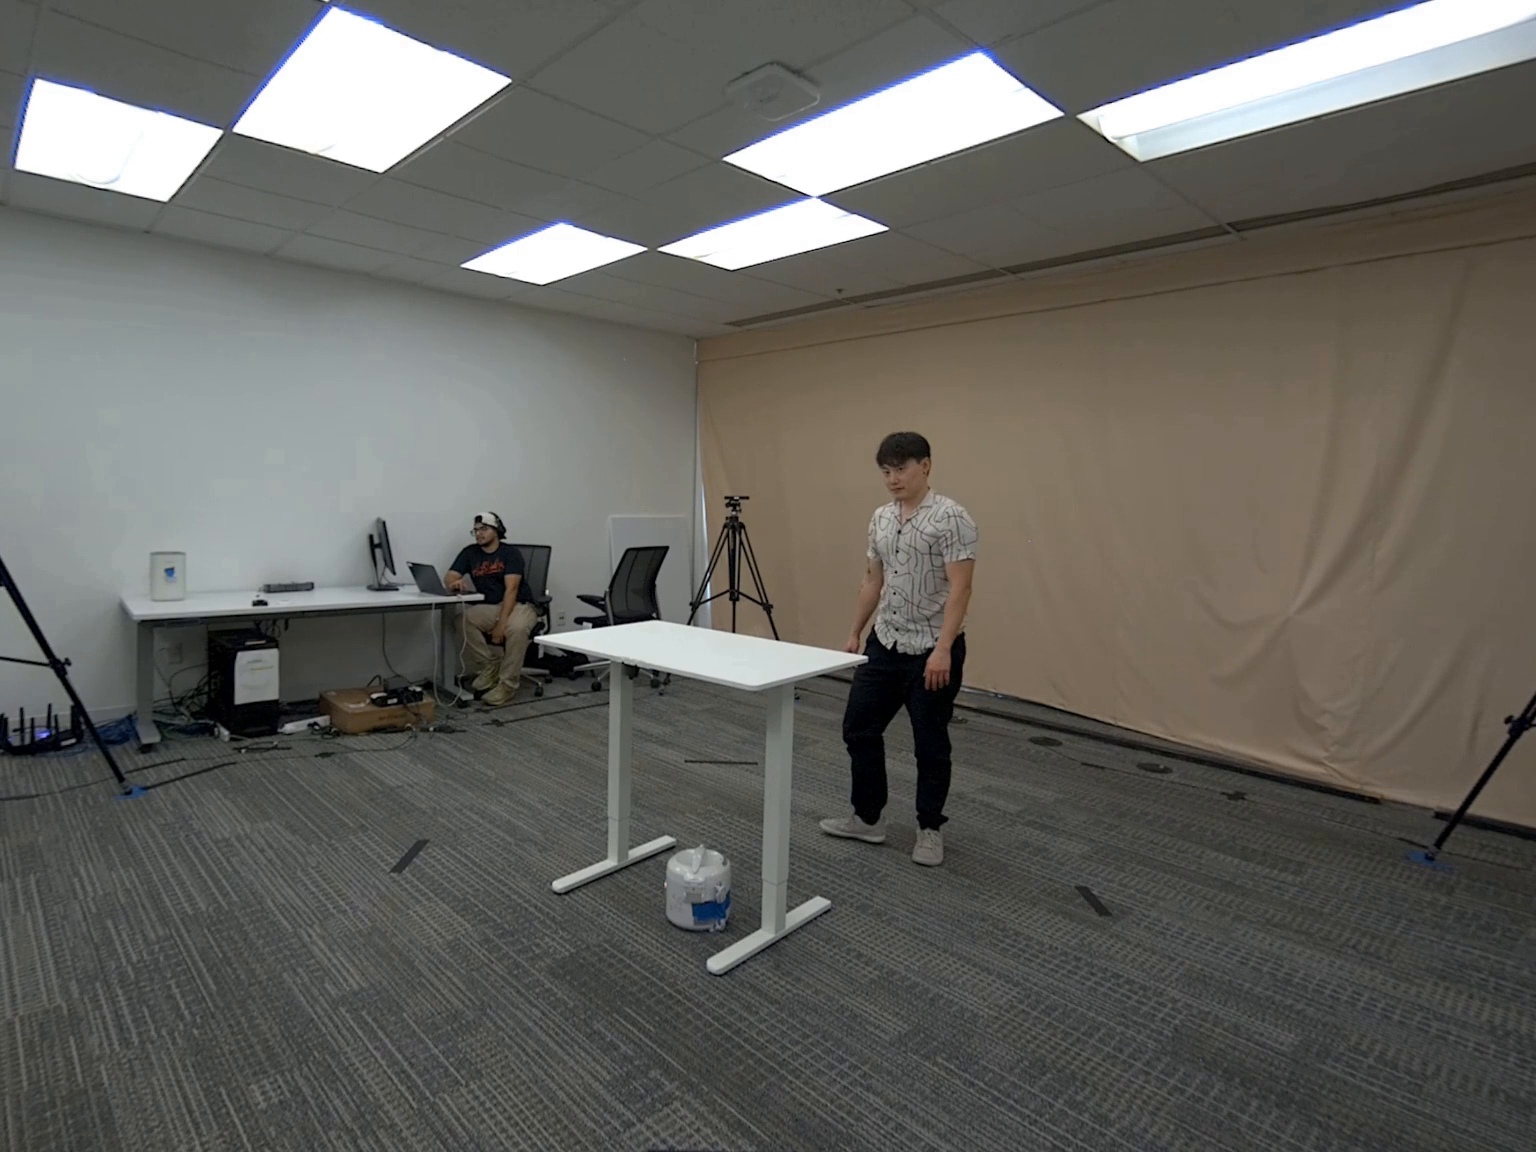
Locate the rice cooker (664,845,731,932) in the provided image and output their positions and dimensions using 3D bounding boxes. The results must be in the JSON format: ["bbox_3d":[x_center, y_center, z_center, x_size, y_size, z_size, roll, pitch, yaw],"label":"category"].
[{"bbox_3d":[-0.238,1.017,2.765,0.218,0.232,0.220,2,4,5],"label":"rice cooker"}]
